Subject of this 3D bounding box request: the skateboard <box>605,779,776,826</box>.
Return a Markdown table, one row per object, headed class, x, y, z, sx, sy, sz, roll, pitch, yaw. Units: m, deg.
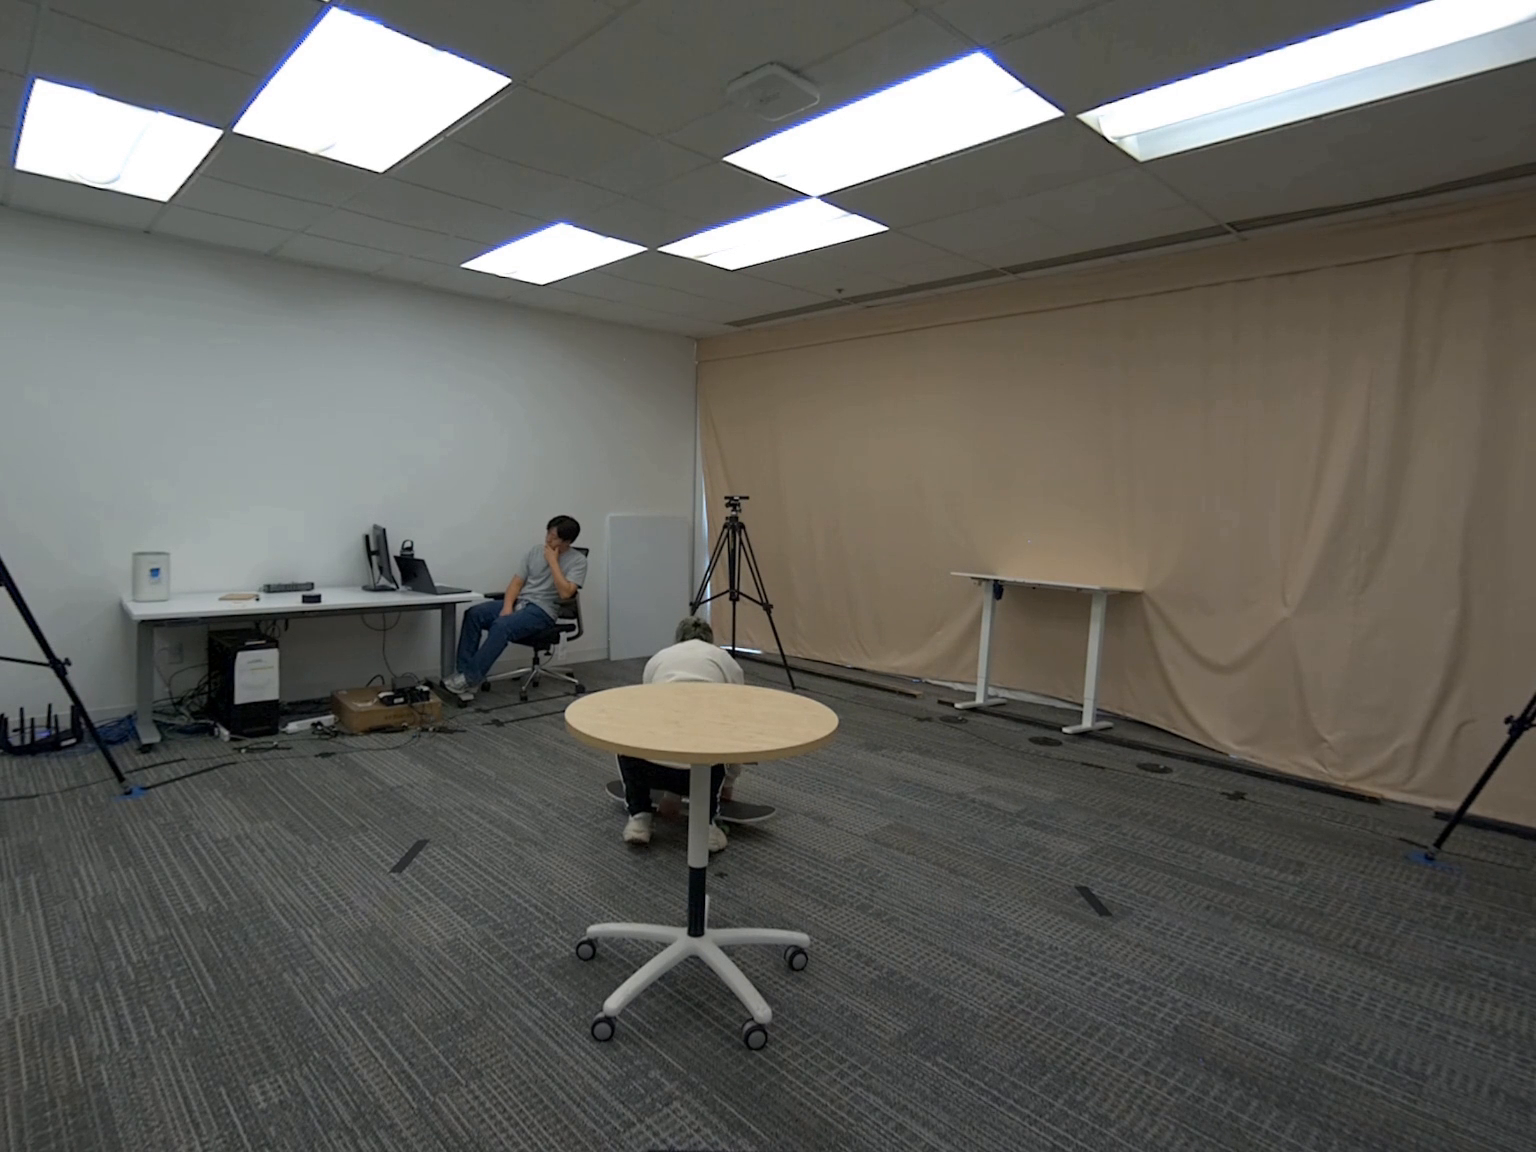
| class | x | y | z | sx | sy | sz | roll | pitch | yaw |
| --- | --- | --- | --- | --- | --- | --- | --- | --- | --- |
| skateboard | -0.347 | 0.989 | 3.605 | 0.800 | 0.110 | 0.190 | 3 | 5 | 23 |
